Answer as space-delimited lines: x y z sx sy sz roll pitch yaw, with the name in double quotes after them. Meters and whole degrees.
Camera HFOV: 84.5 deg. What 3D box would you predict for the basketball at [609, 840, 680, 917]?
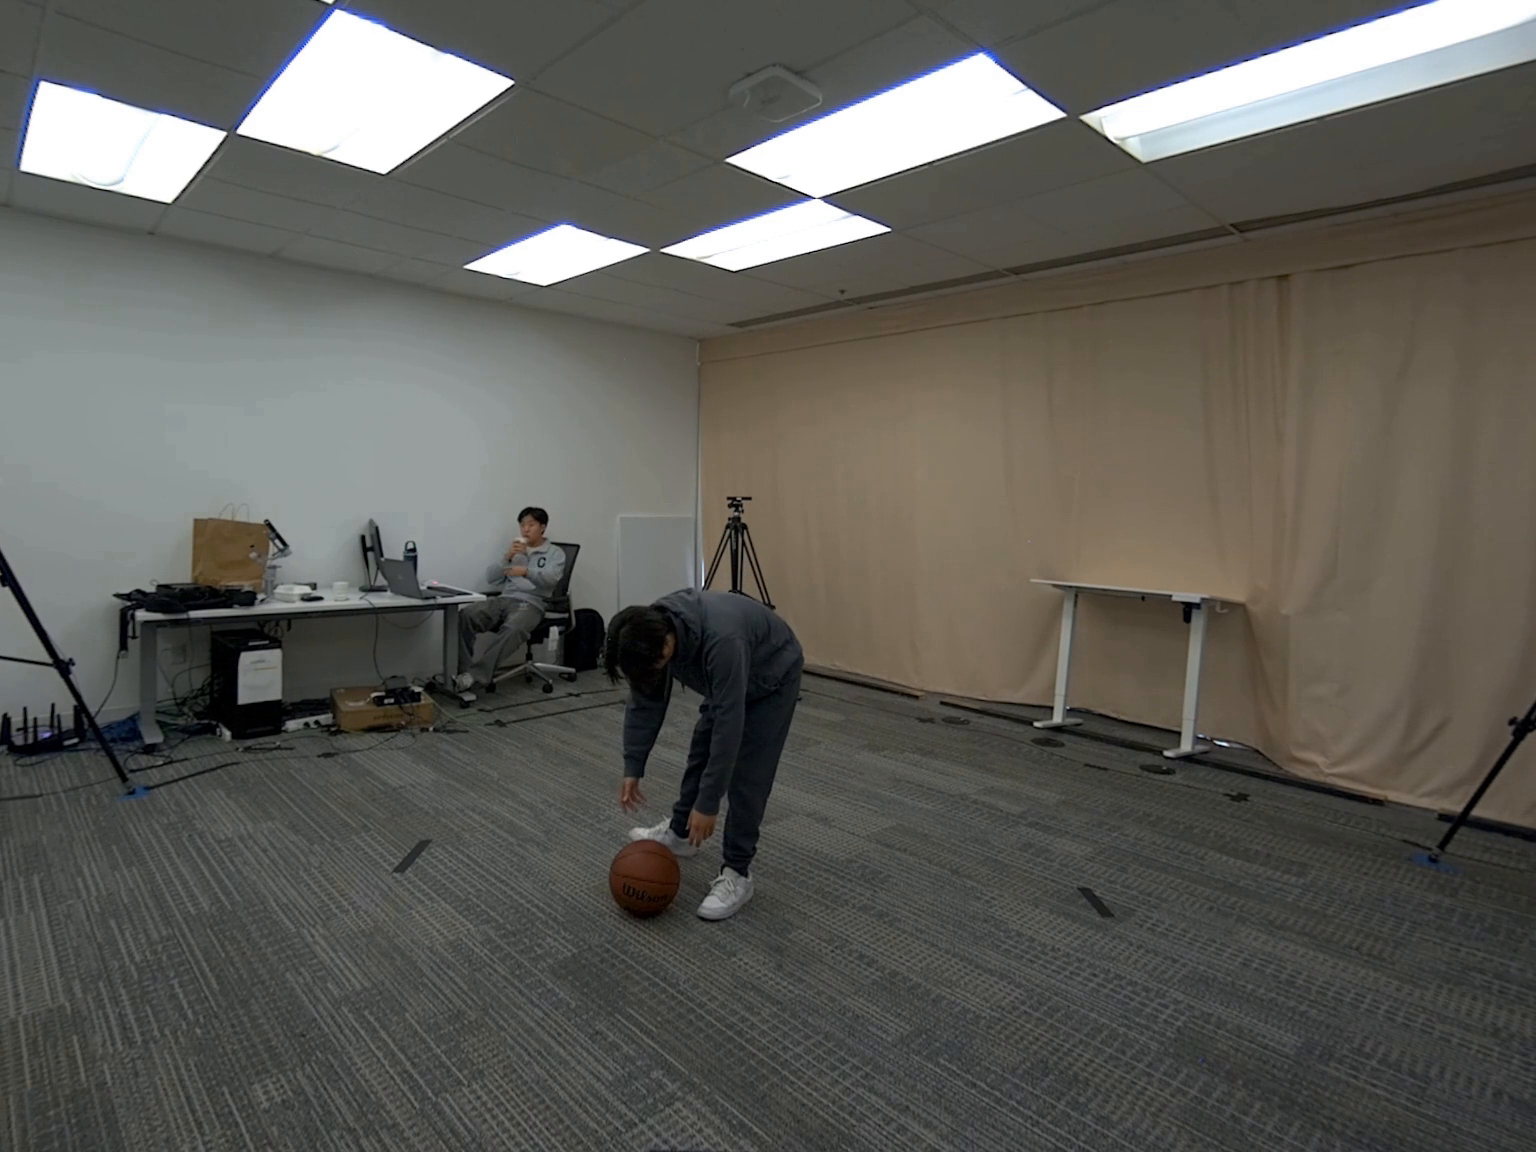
-0.414 1.004 2.809 0.236 0.235 0.237 1 4 -1 "basketball"
